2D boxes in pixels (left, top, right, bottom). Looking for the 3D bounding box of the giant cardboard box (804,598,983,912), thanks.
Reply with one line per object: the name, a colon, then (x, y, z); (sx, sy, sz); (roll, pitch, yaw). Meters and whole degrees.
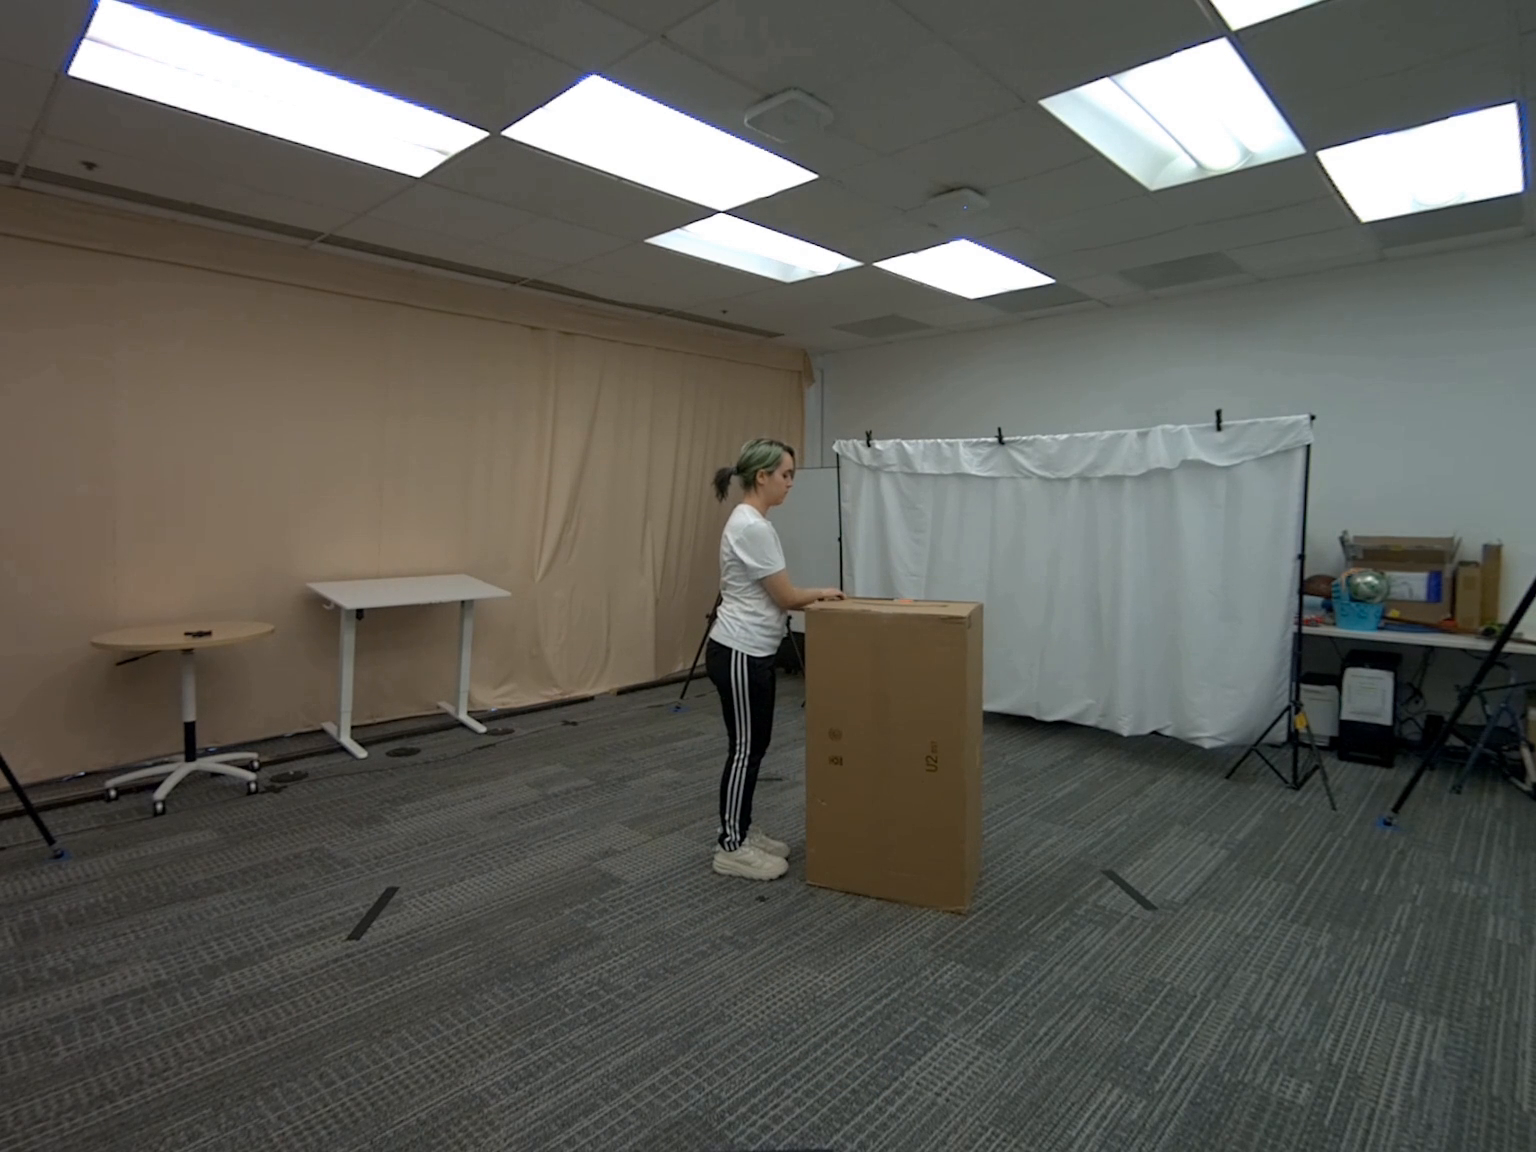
giant cardboard box: (0.480, 0.621, 3.138); (0.592, 1.024, 0.416); (1, 4, 24)
